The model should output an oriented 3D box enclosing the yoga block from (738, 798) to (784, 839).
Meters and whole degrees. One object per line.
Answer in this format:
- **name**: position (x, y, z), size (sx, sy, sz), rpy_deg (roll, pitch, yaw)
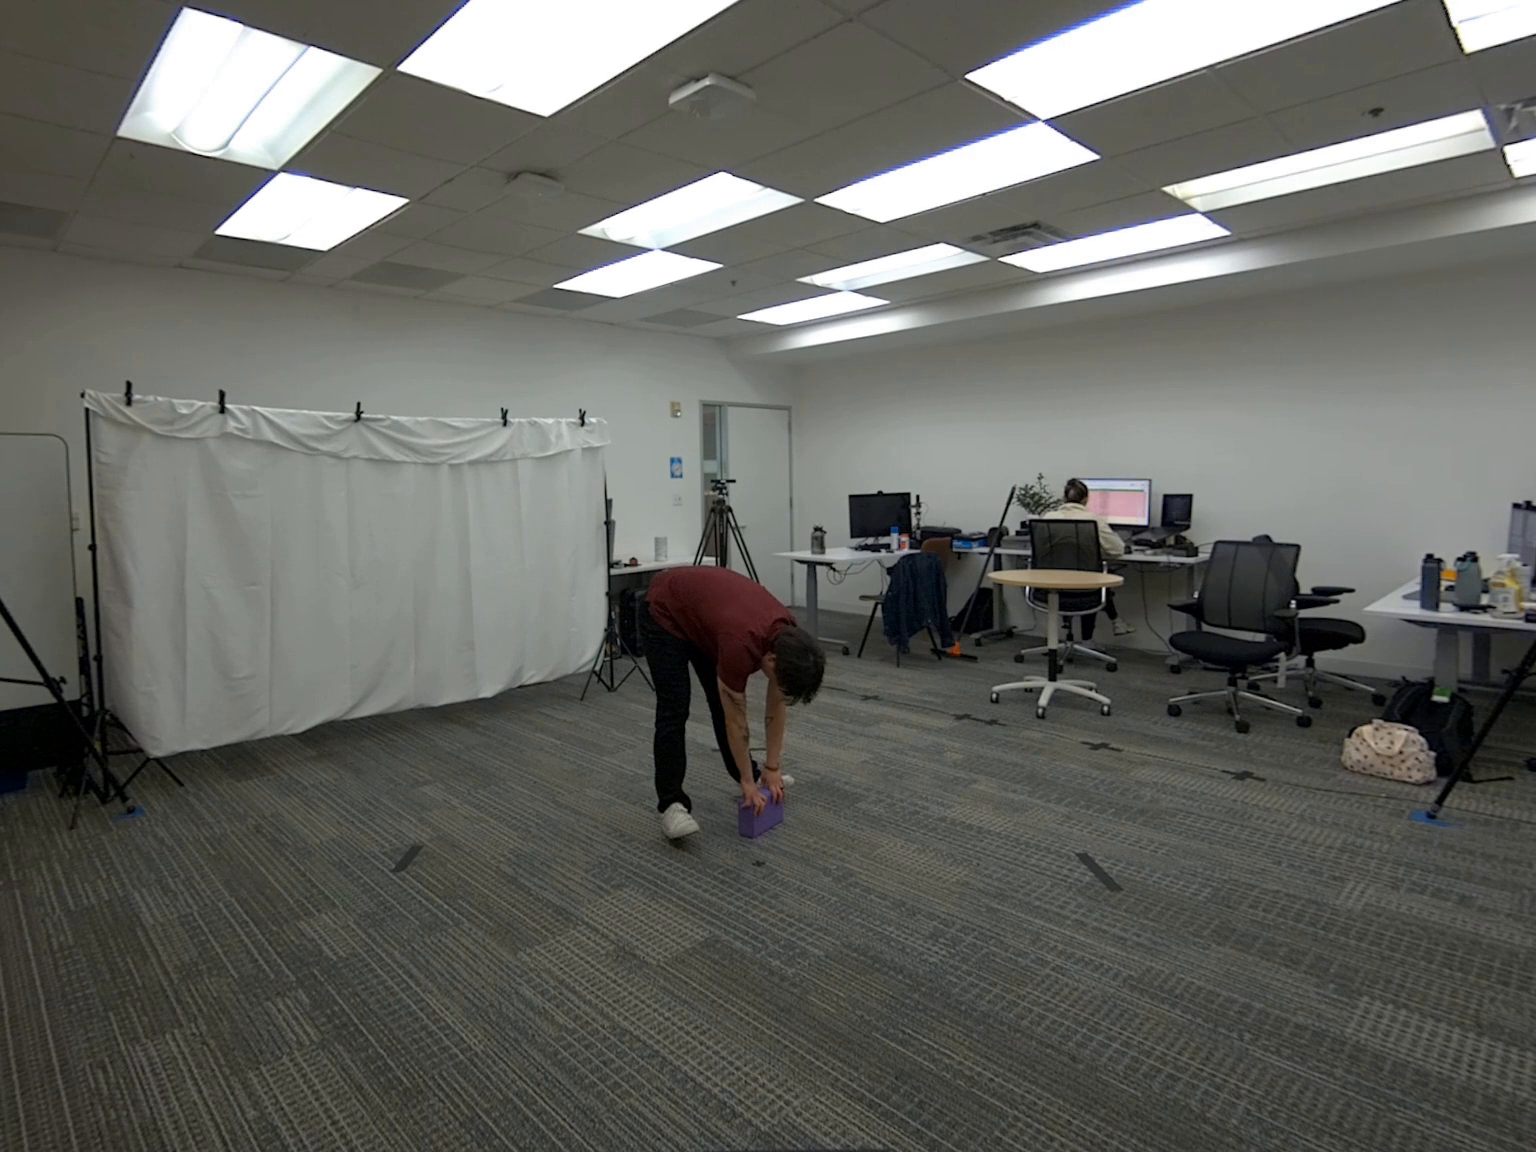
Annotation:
- **yoga block**: position (-0.035, 0.936, 3.430), size (0.078, 0.149, 0.223), rpy_deg (-2, 3, 36)
